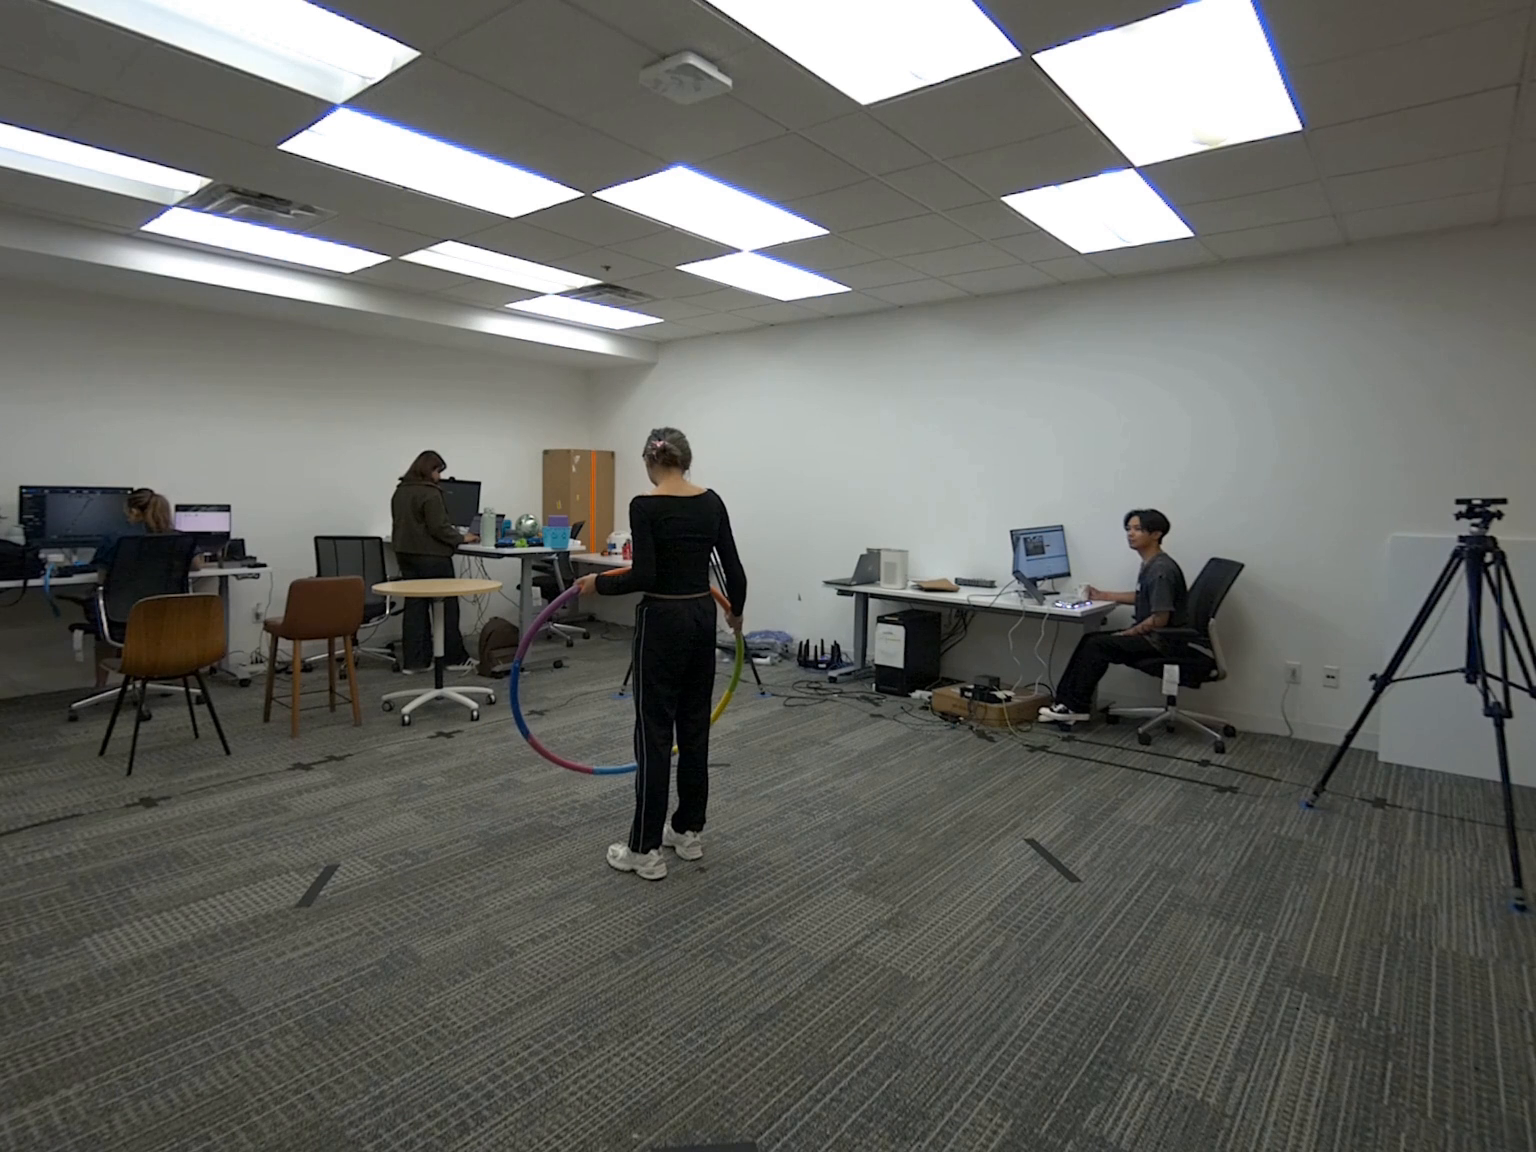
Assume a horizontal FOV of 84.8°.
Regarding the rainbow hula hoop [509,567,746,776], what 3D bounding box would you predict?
[{"bbox_3d":[-0.577,0.406,3.456,0.957,0.962,0.037,0,25,-23],"label":"rainbow hula hoop"}]
